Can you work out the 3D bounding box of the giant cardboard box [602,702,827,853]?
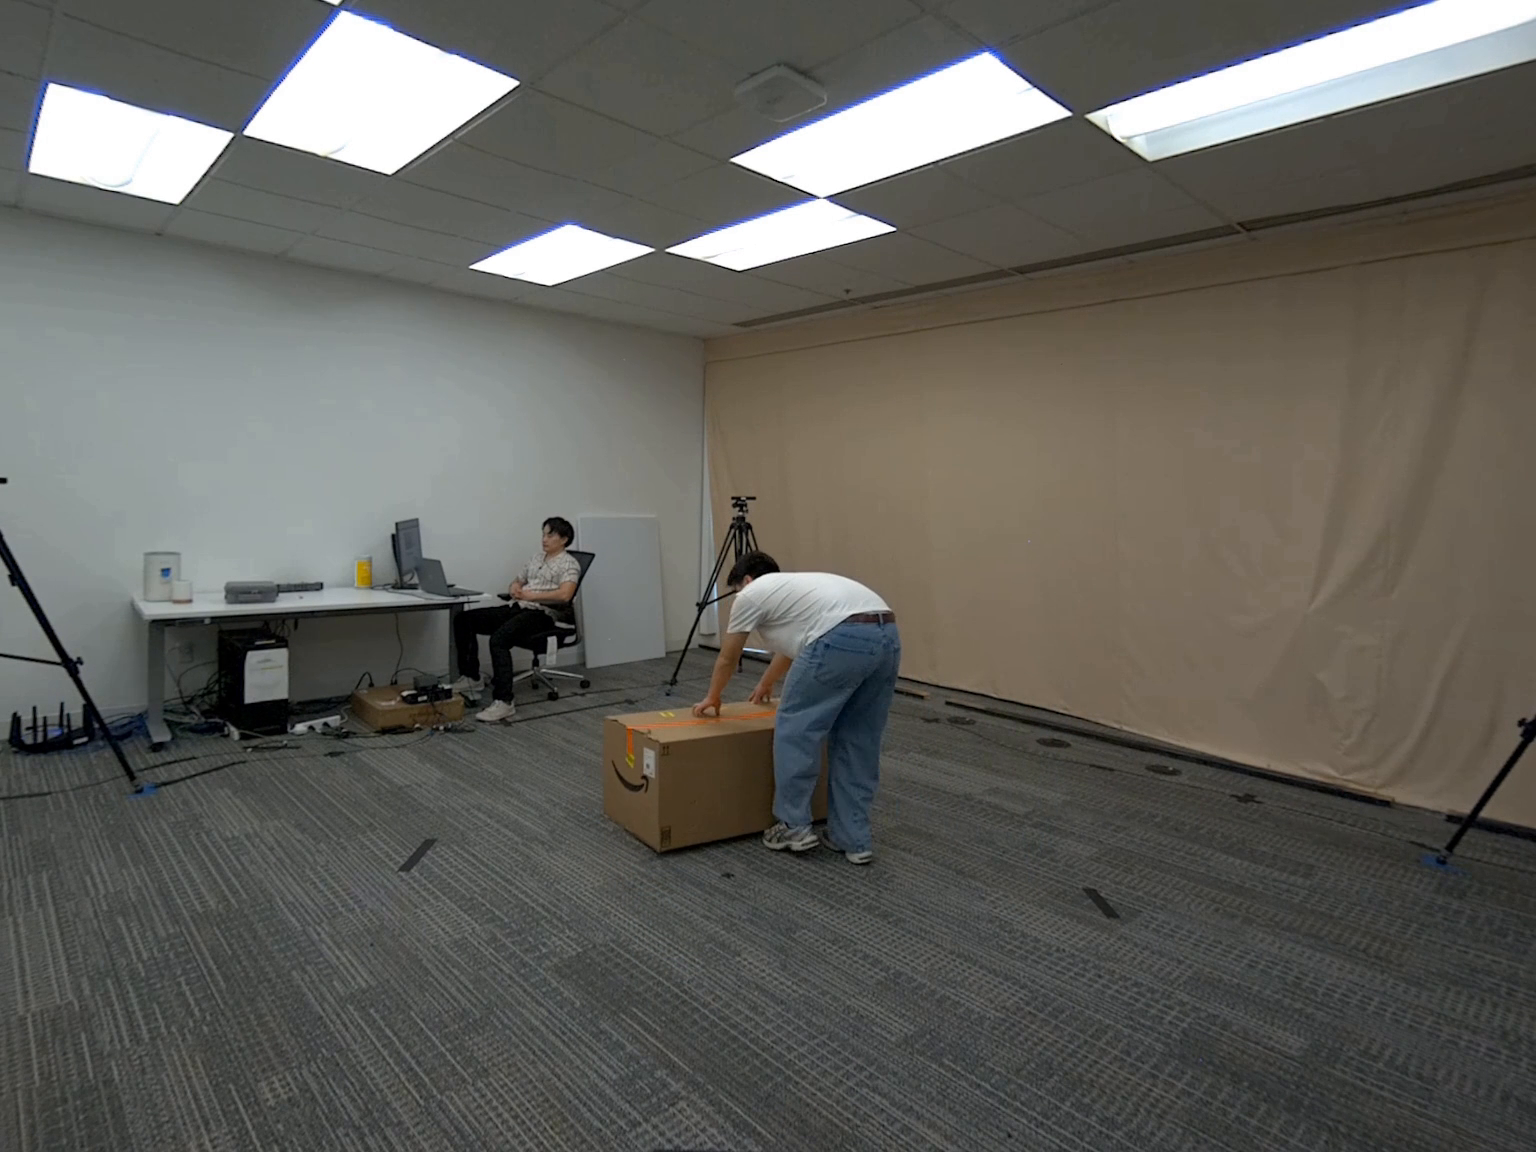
[{"bbox_3d":[-0.147,0.829,3.703,1.005,0.426,0.590,-1,2,-31],"label":"giant cardboard box"}]
